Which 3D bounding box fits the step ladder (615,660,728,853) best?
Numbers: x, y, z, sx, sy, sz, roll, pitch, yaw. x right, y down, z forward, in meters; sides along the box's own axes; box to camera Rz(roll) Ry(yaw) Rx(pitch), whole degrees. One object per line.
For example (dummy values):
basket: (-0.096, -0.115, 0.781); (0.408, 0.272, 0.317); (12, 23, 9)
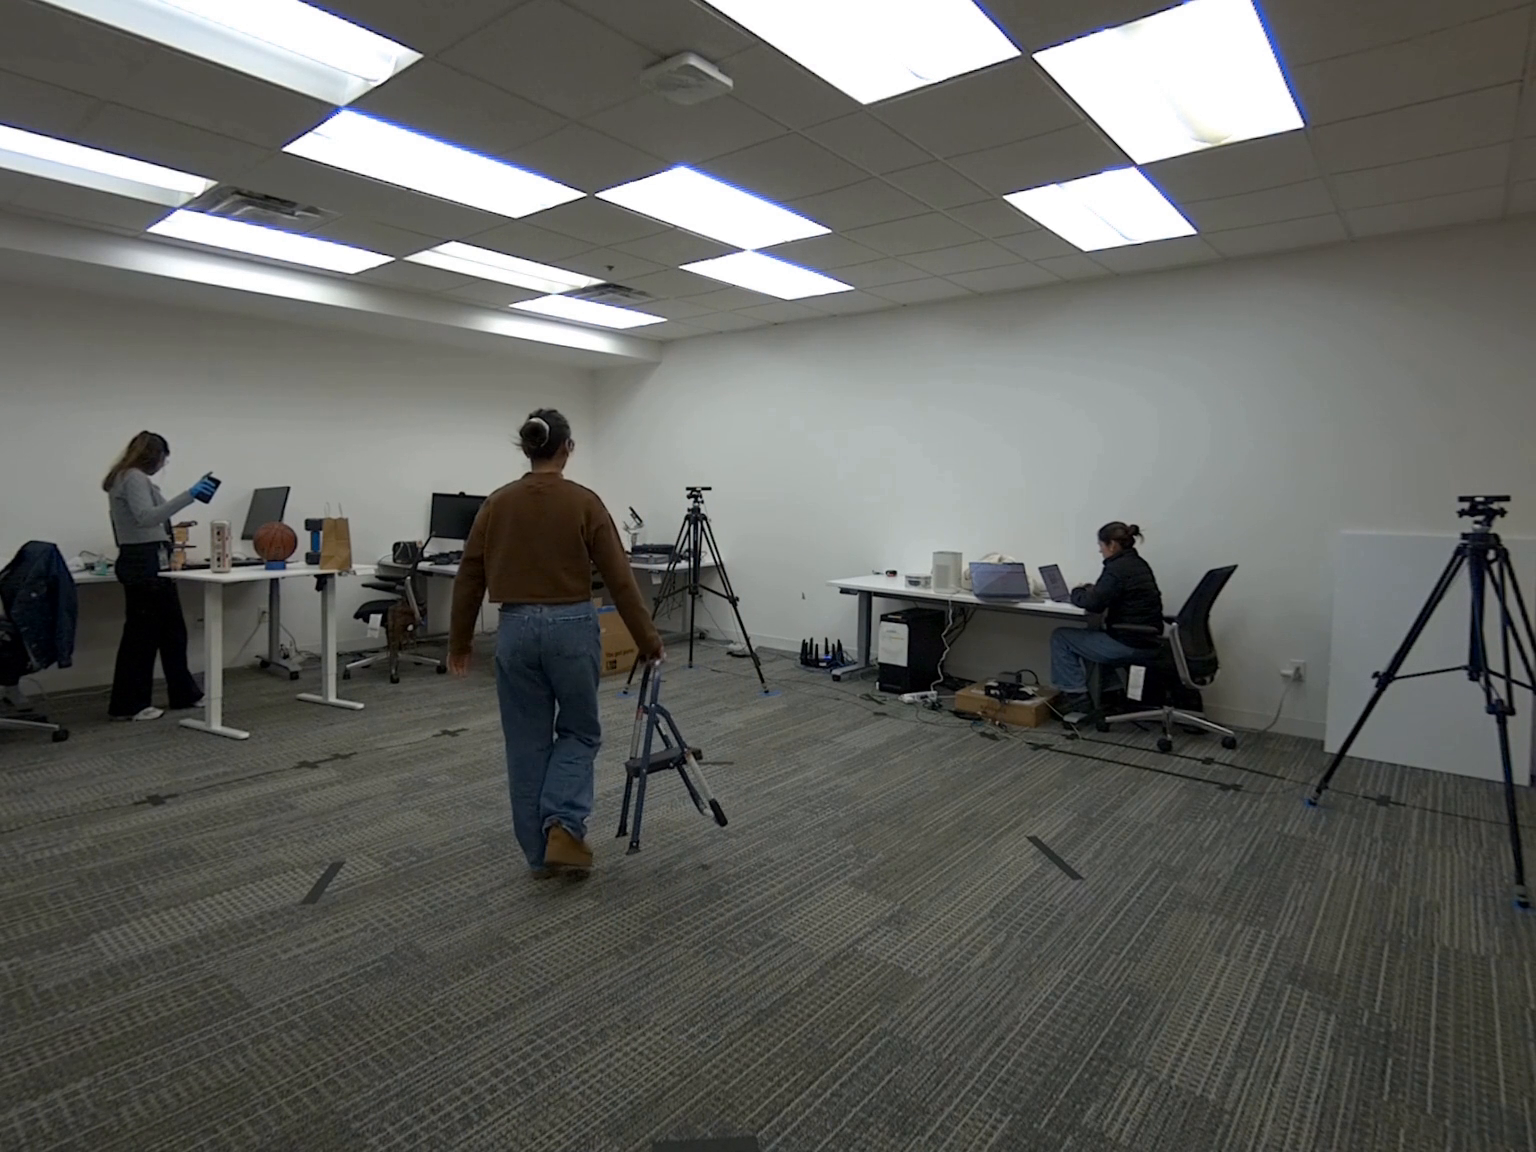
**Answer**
step ladder: (-0.426, 0.607, 3.035); (0.345, 0.613, 0.432); (-11, -8, -16)
